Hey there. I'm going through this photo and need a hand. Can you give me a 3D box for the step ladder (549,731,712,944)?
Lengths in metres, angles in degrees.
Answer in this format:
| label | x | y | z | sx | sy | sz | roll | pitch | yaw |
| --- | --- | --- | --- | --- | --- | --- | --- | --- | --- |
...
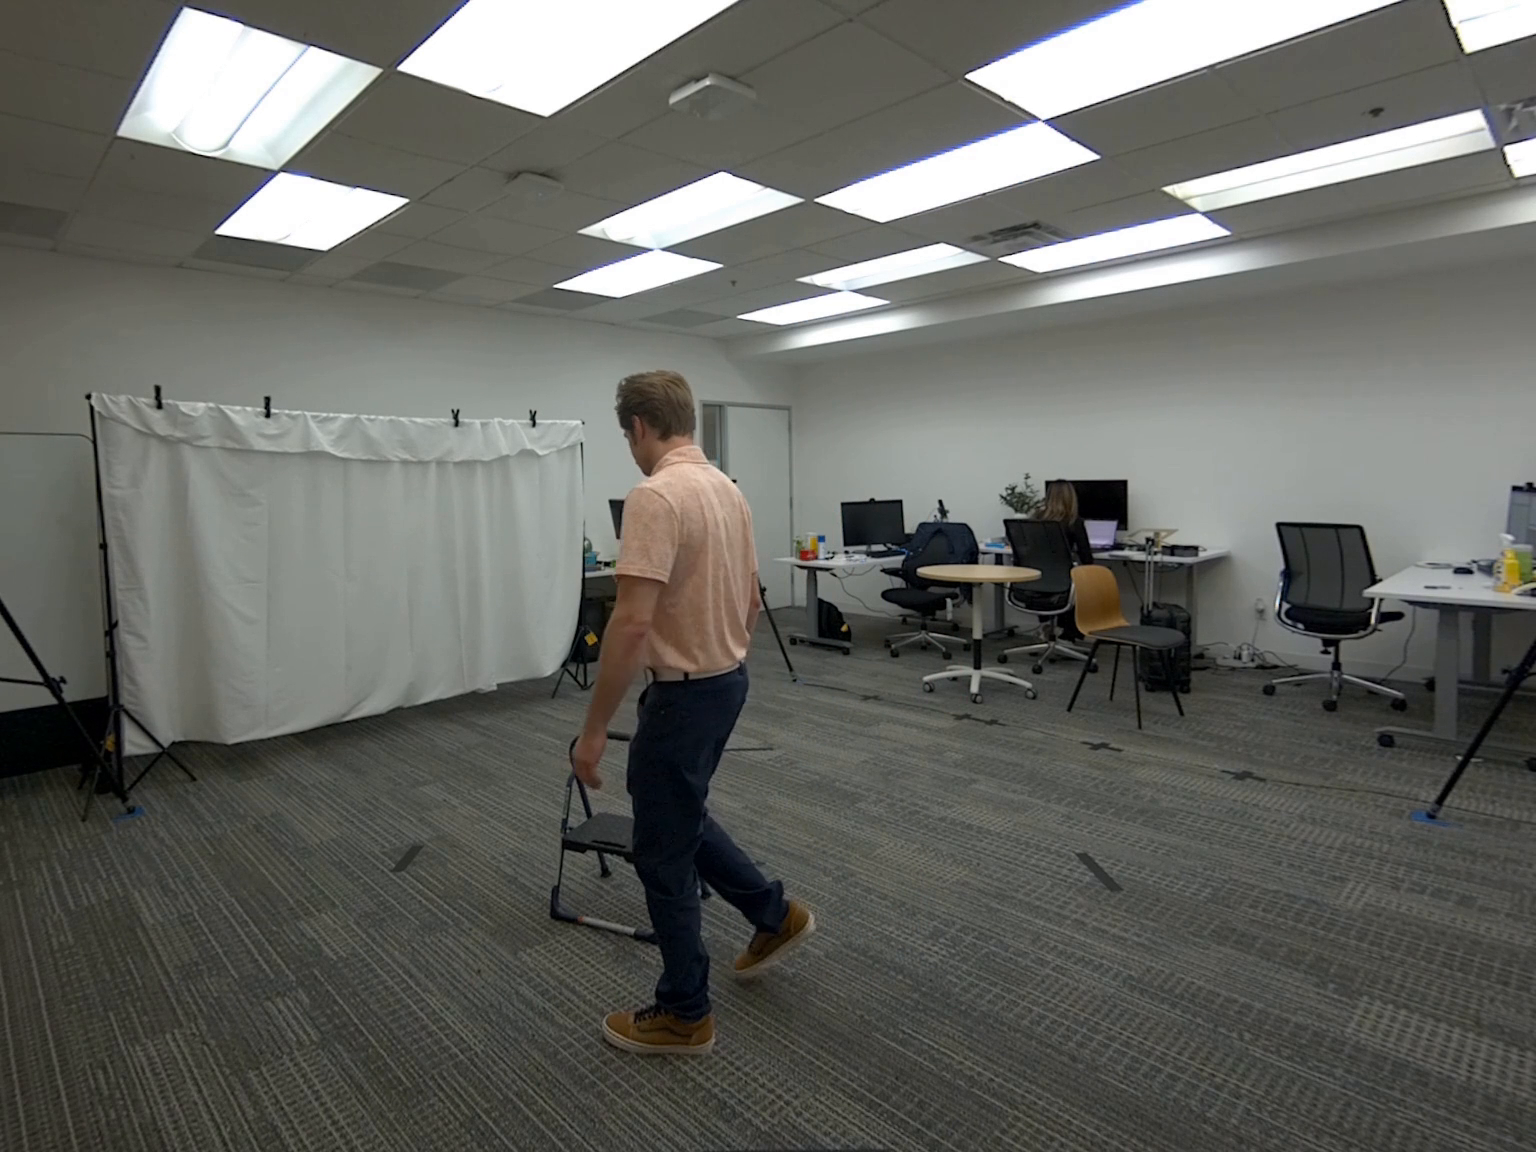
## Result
| label | x | y | z | sx | sy | sz | roll | pitch | yaw |
| --- | --- | --- | --- | --- | --- | --- | --- | --- | --- |
| step ladder | -0.456 | 0.790 | 2.796 | 0.440 | 0.604 | 0.343 | 1 | 5 | 23 |
